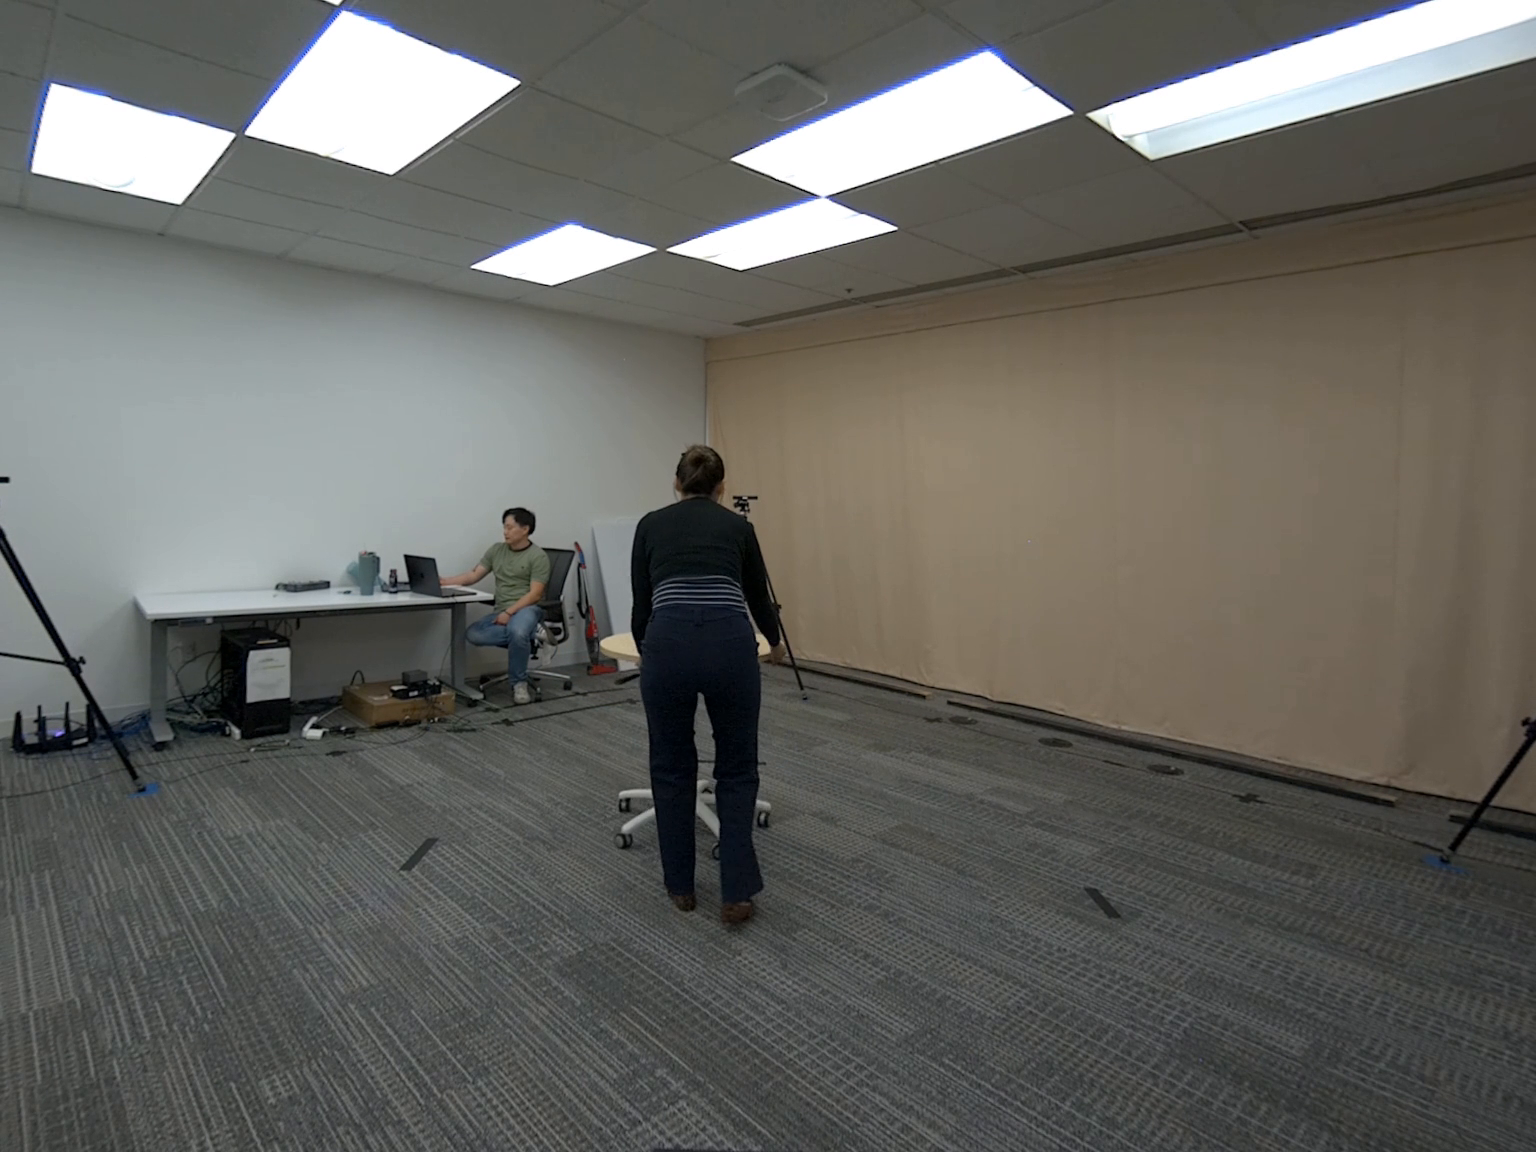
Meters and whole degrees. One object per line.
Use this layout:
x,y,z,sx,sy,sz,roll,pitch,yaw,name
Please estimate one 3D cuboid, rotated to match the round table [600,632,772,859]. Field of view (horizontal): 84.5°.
-0.334,0.675,3.526,0.763,0.792,0.766,1,3,-1,round table
